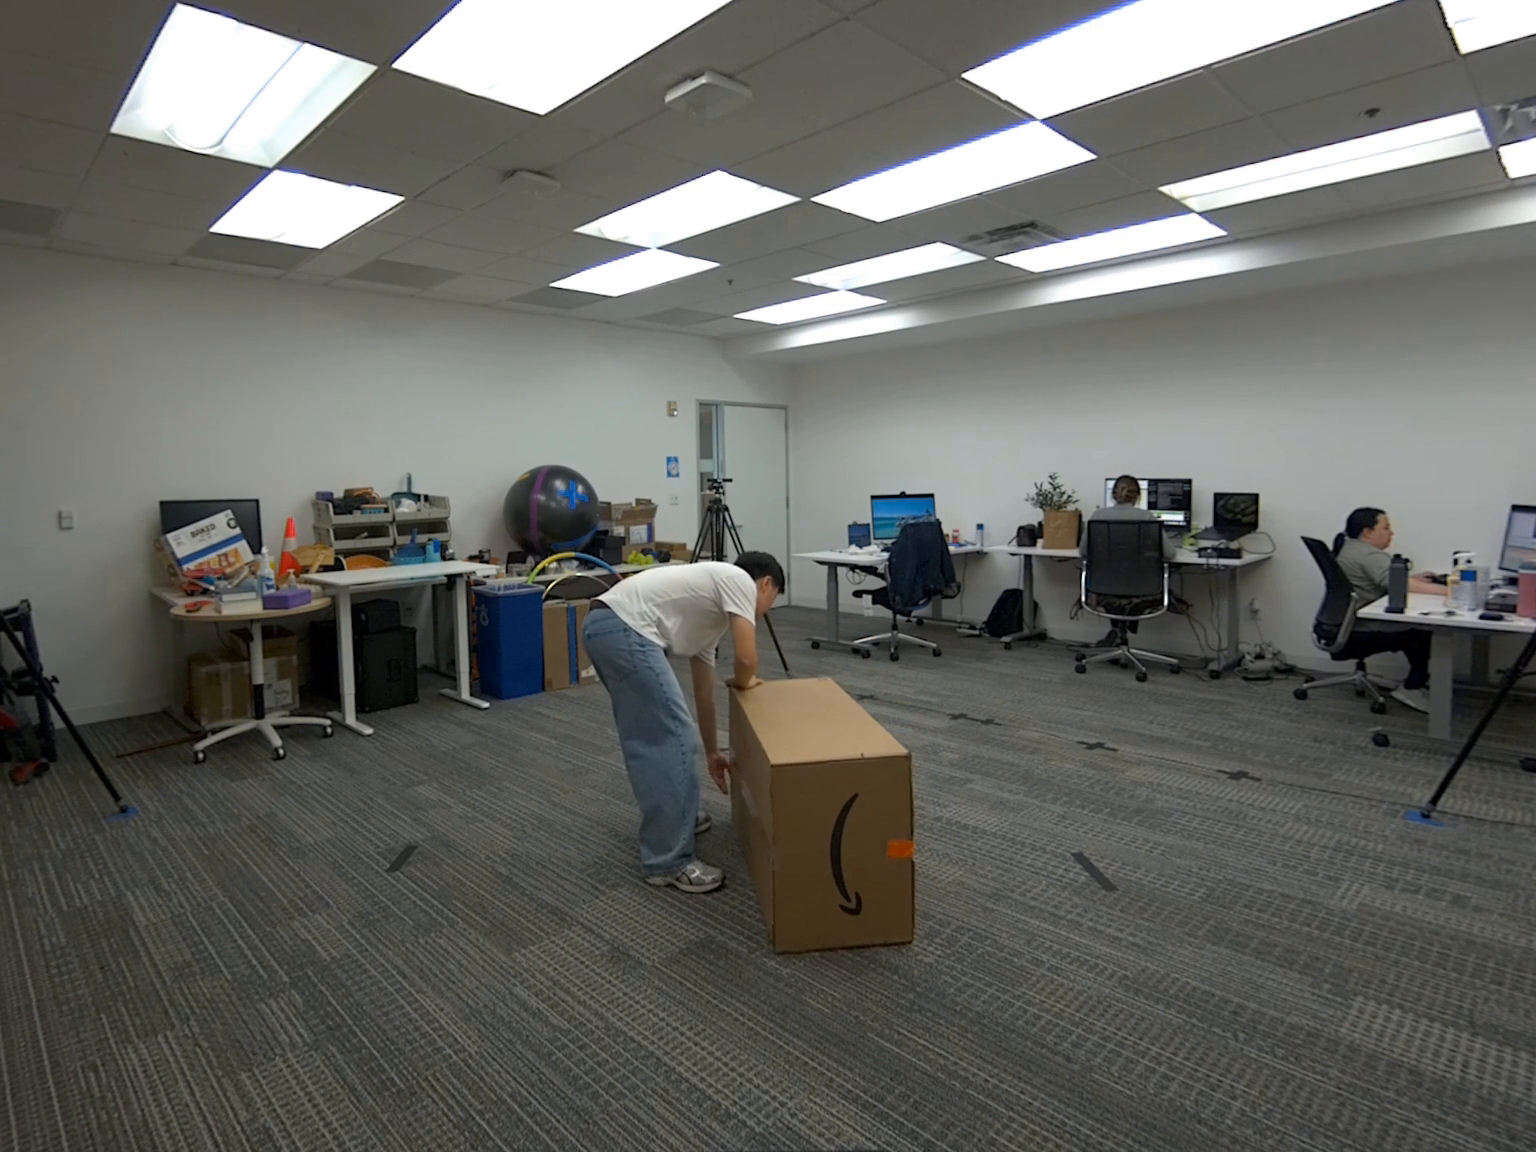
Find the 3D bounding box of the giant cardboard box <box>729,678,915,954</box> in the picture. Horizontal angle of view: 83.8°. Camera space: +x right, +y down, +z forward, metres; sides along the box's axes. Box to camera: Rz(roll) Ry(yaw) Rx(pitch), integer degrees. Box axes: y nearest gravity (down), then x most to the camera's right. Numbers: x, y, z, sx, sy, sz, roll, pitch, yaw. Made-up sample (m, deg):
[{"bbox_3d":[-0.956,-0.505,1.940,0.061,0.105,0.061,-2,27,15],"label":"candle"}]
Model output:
[{"bbox_3d":[0.149,0.759,3.010,0.423,0.575,1.038,-2,6,-9],"label":"giant cardboard box"}]
